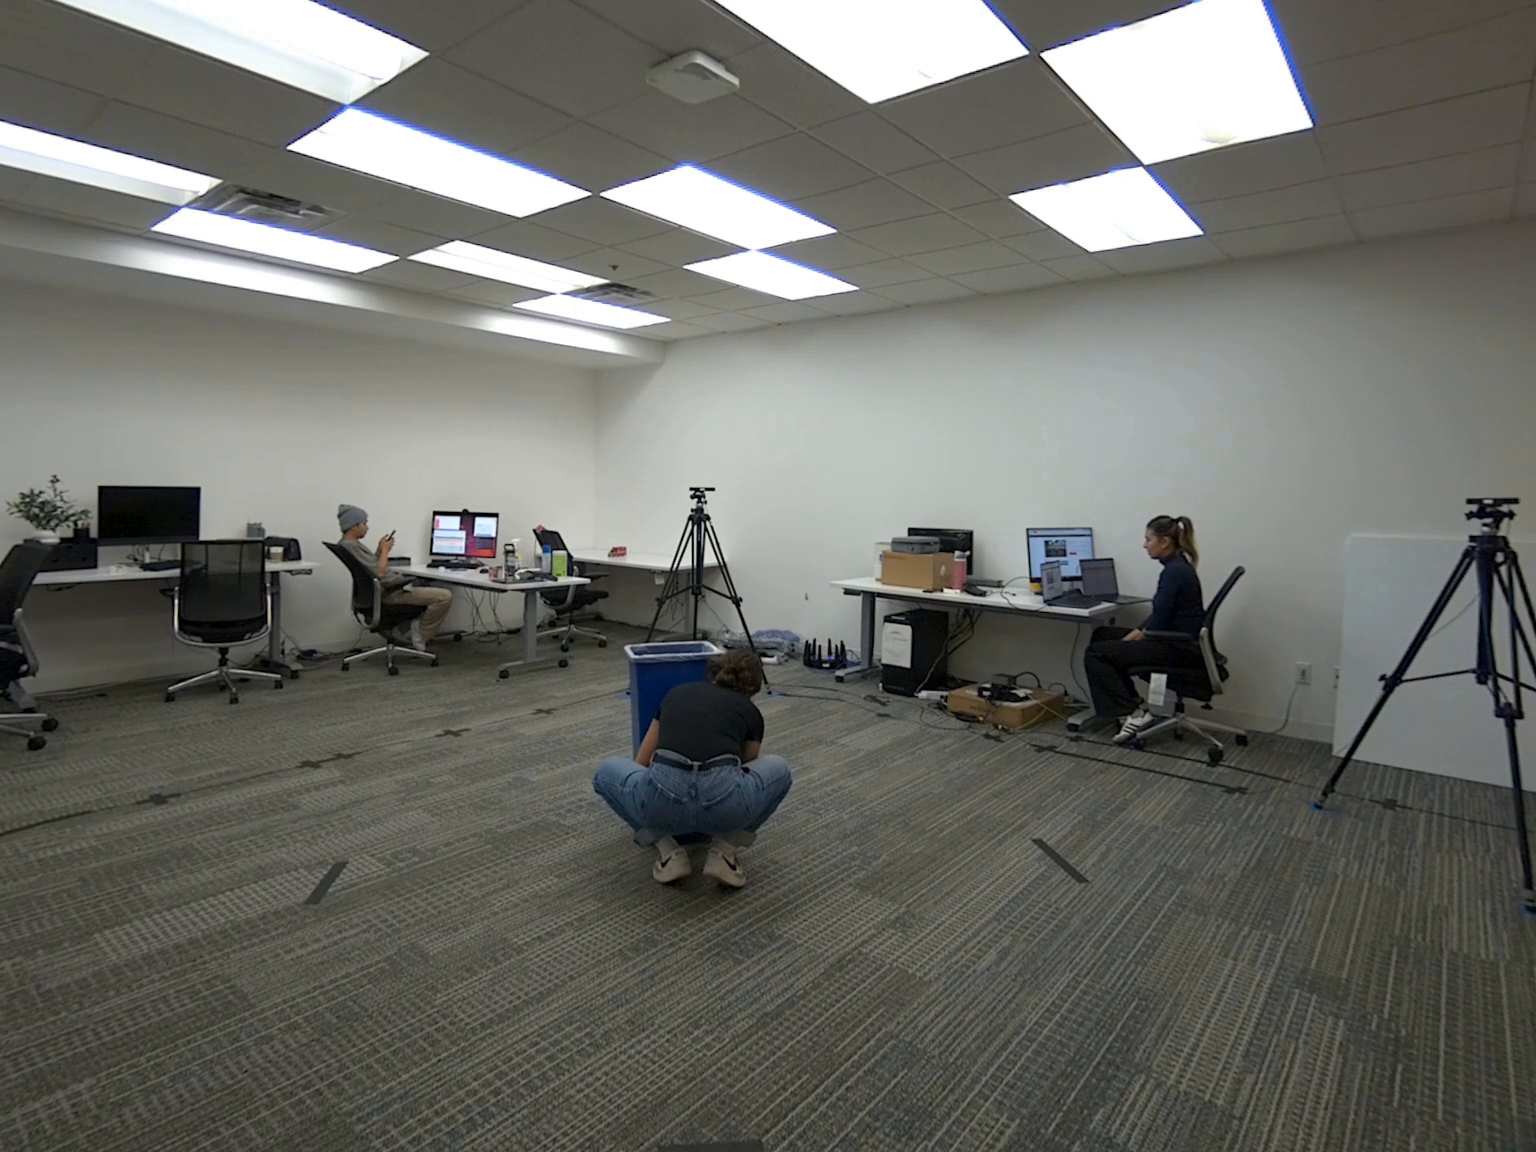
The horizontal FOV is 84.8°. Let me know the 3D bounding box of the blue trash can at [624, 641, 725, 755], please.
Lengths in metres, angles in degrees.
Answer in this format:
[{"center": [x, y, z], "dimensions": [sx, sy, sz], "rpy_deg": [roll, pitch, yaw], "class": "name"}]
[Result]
[{"center": [-0.393, 0.639, 3.454], "dimensions": [0.369, 0.713, 0.383], "rpy_deg": [0, 0, -14], "class": "blue trash can"}]
